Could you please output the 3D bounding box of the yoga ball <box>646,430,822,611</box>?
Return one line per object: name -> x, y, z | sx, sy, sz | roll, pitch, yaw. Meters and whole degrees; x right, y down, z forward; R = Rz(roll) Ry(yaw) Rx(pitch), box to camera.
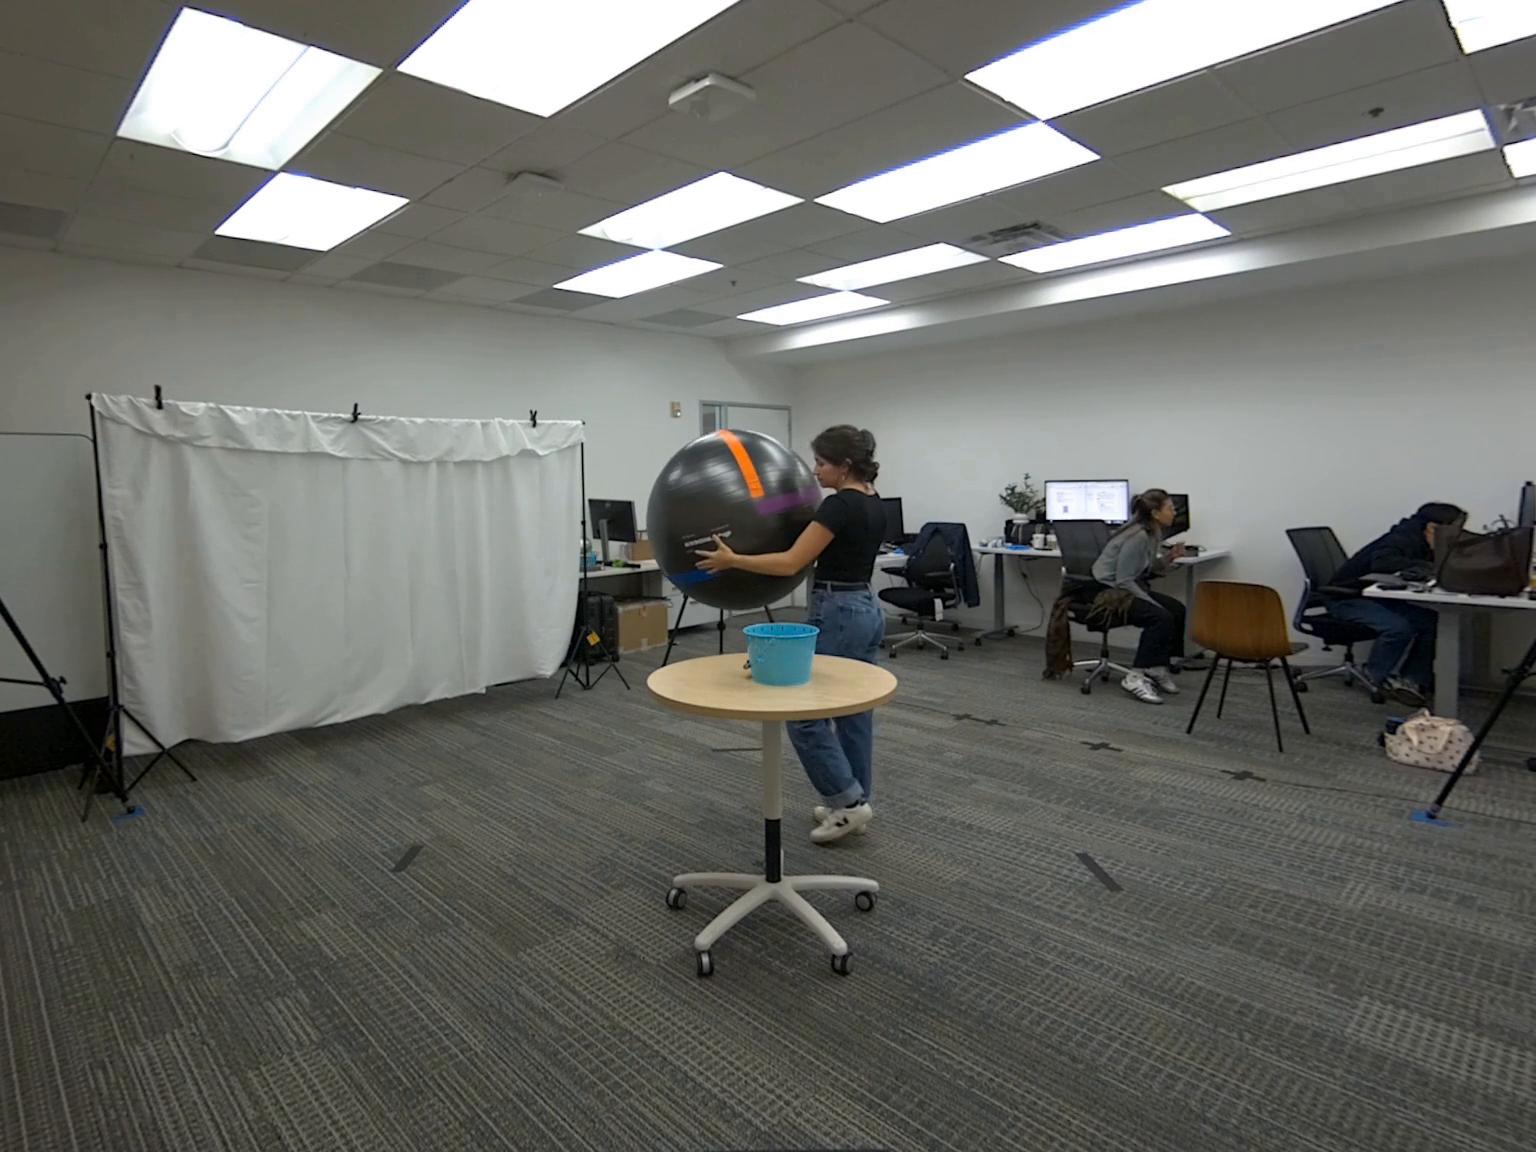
yoga ball -> -0.148, -0.233, 3.626 | 0.757, 0.755, 0.762 | -1, 5, -2
